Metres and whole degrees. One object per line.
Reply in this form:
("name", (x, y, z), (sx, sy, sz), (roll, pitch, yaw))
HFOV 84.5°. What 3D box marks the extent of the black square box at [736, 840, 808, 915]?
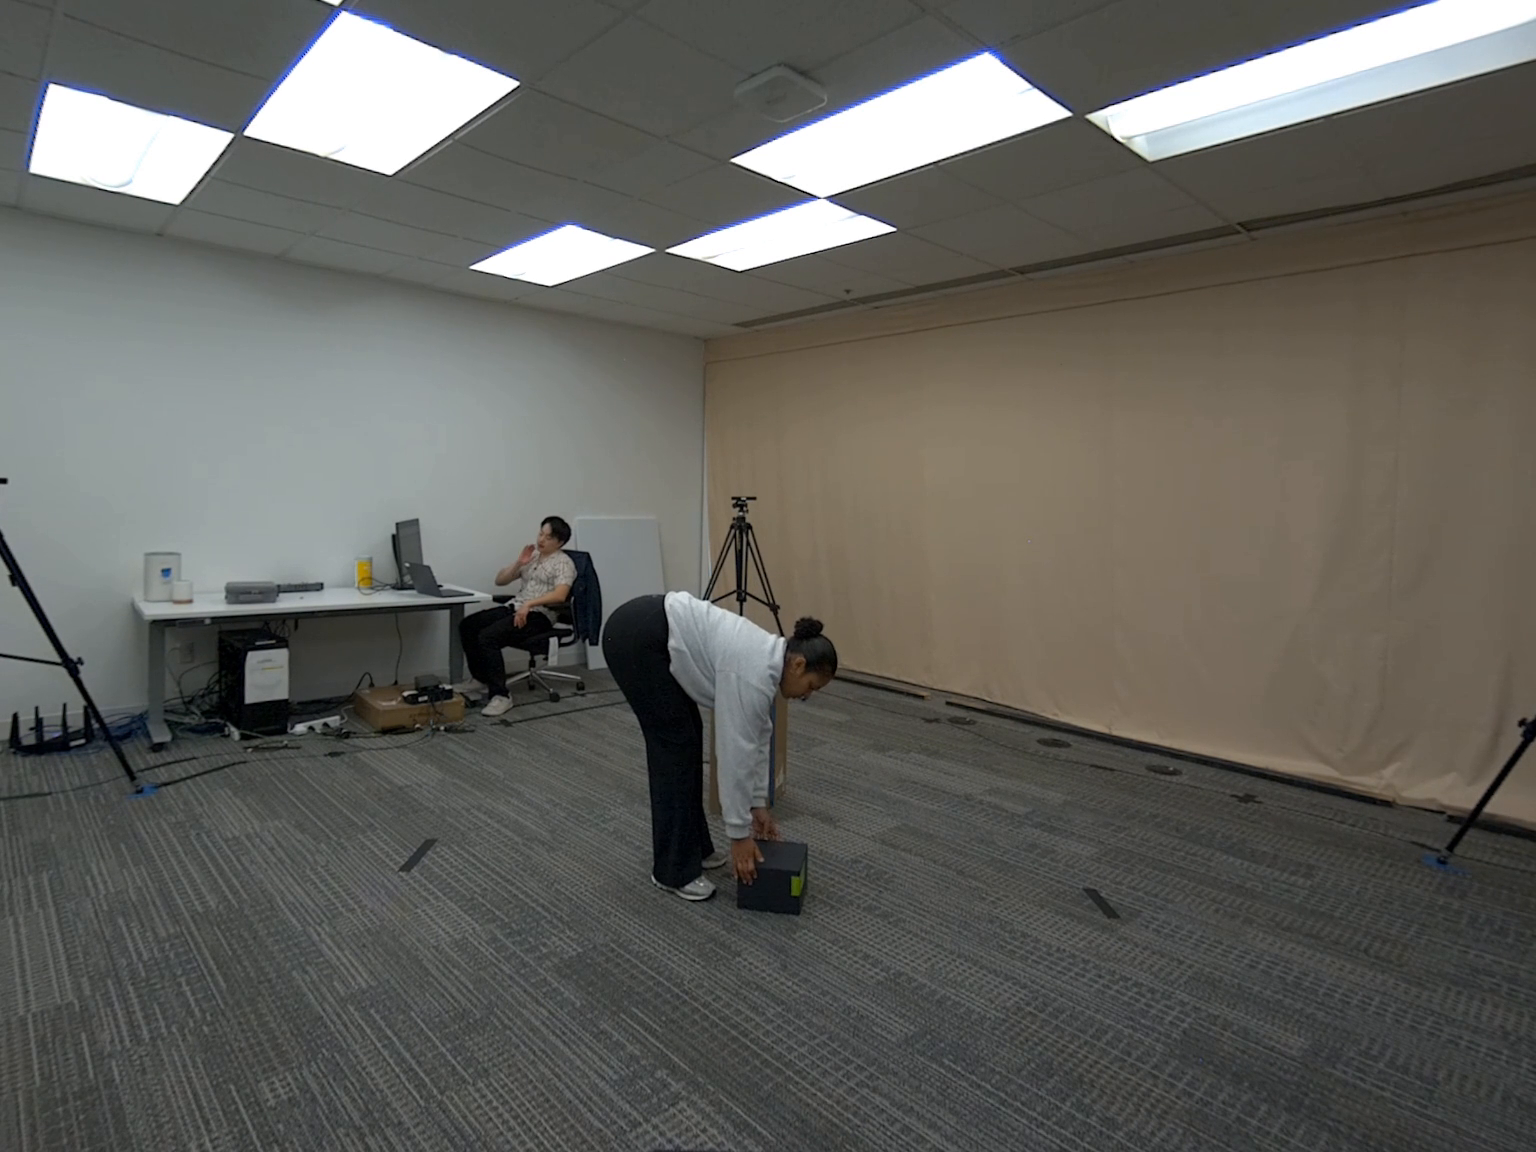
("black square box", (0.005, 1.041, 2.929), (0.219, 0.155, 0.227), (2, 6, 10))
